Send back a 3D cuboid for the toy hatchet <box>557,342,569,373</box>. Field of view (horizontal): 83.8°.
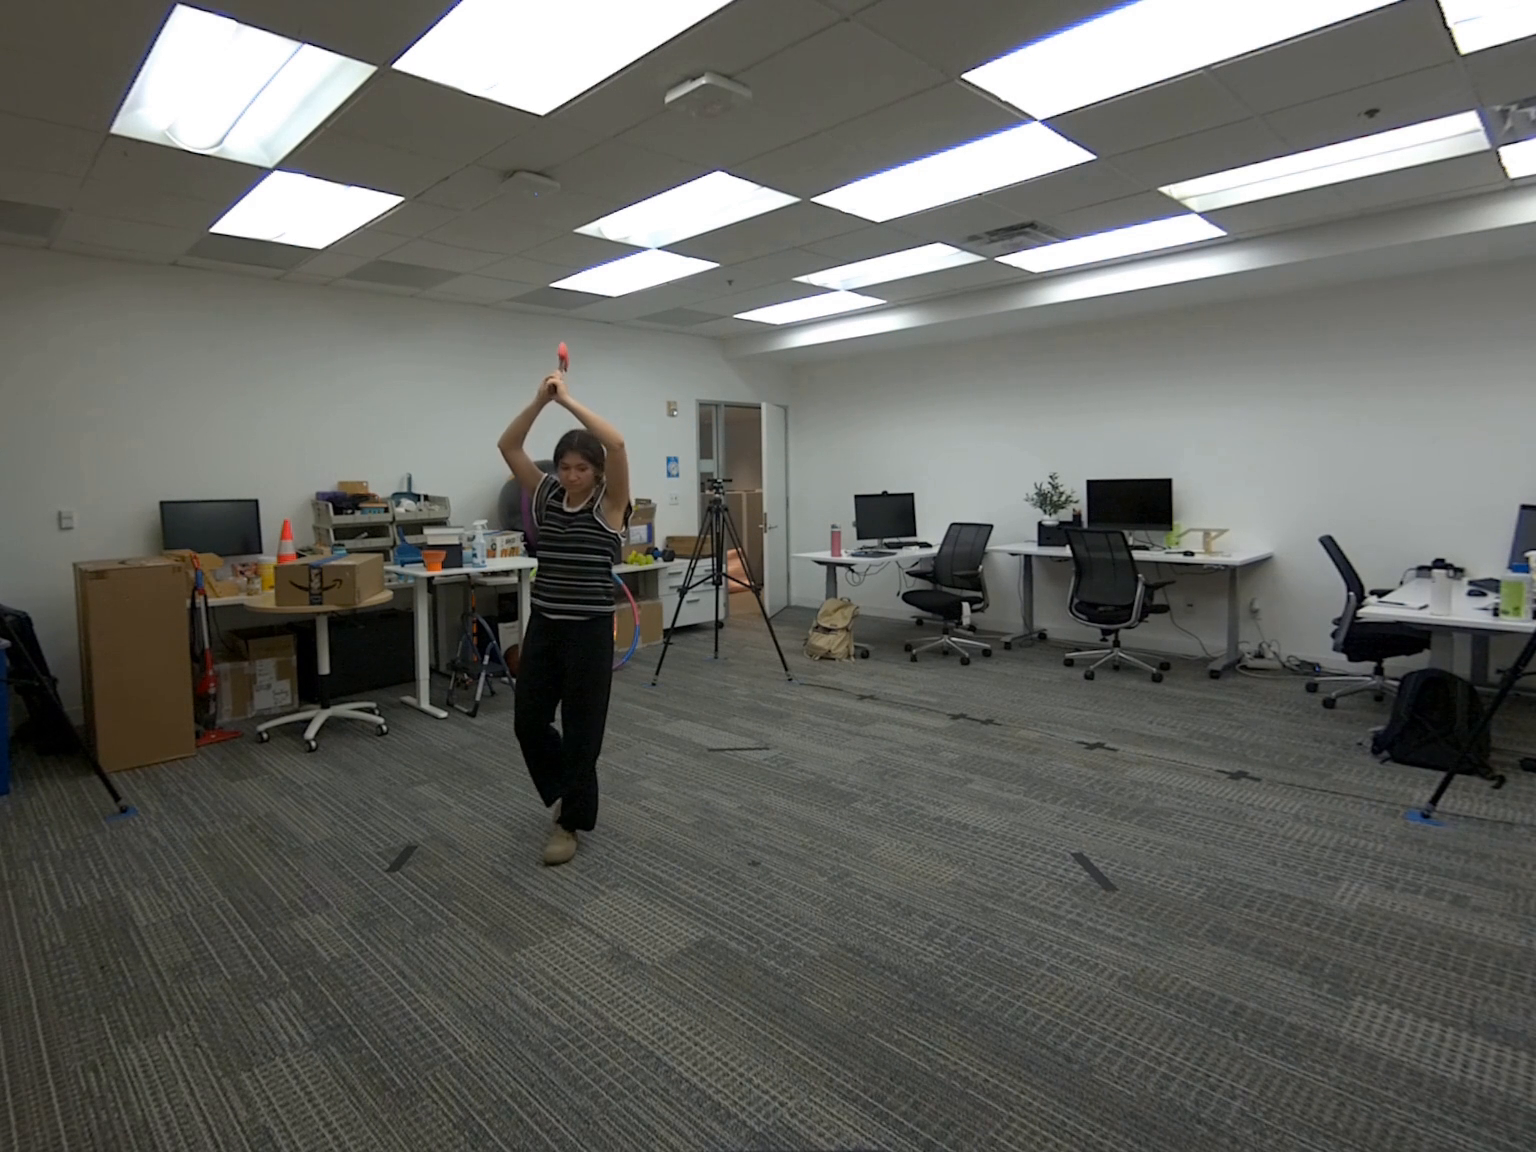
[{"bbox_3d":[-0.755,-0.758,3.083,0.029,0.128,0.277,1,31,-4],"label":"toy hatchet"}]
